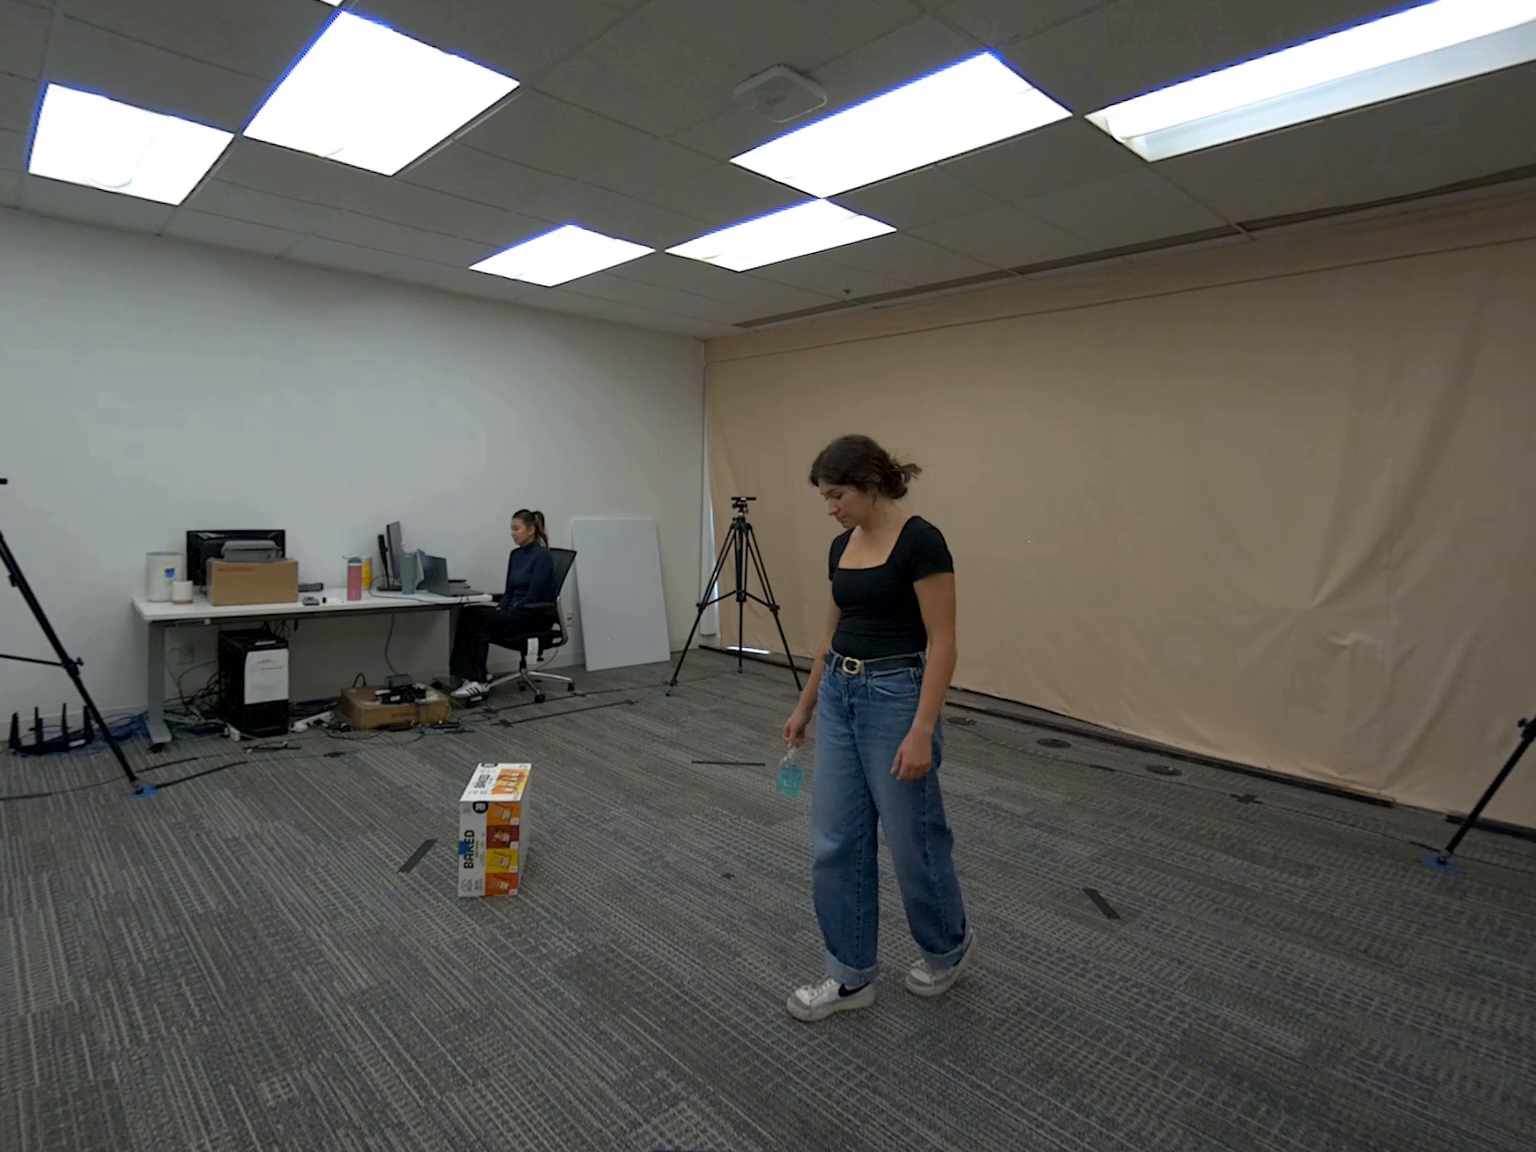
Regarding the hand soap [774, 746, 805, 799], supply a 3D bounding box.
[{"bbox_3d":[0.068,0.568,2.495,0.084,0.168,0.044,7,2,-9],"label":"hand soap"}]
